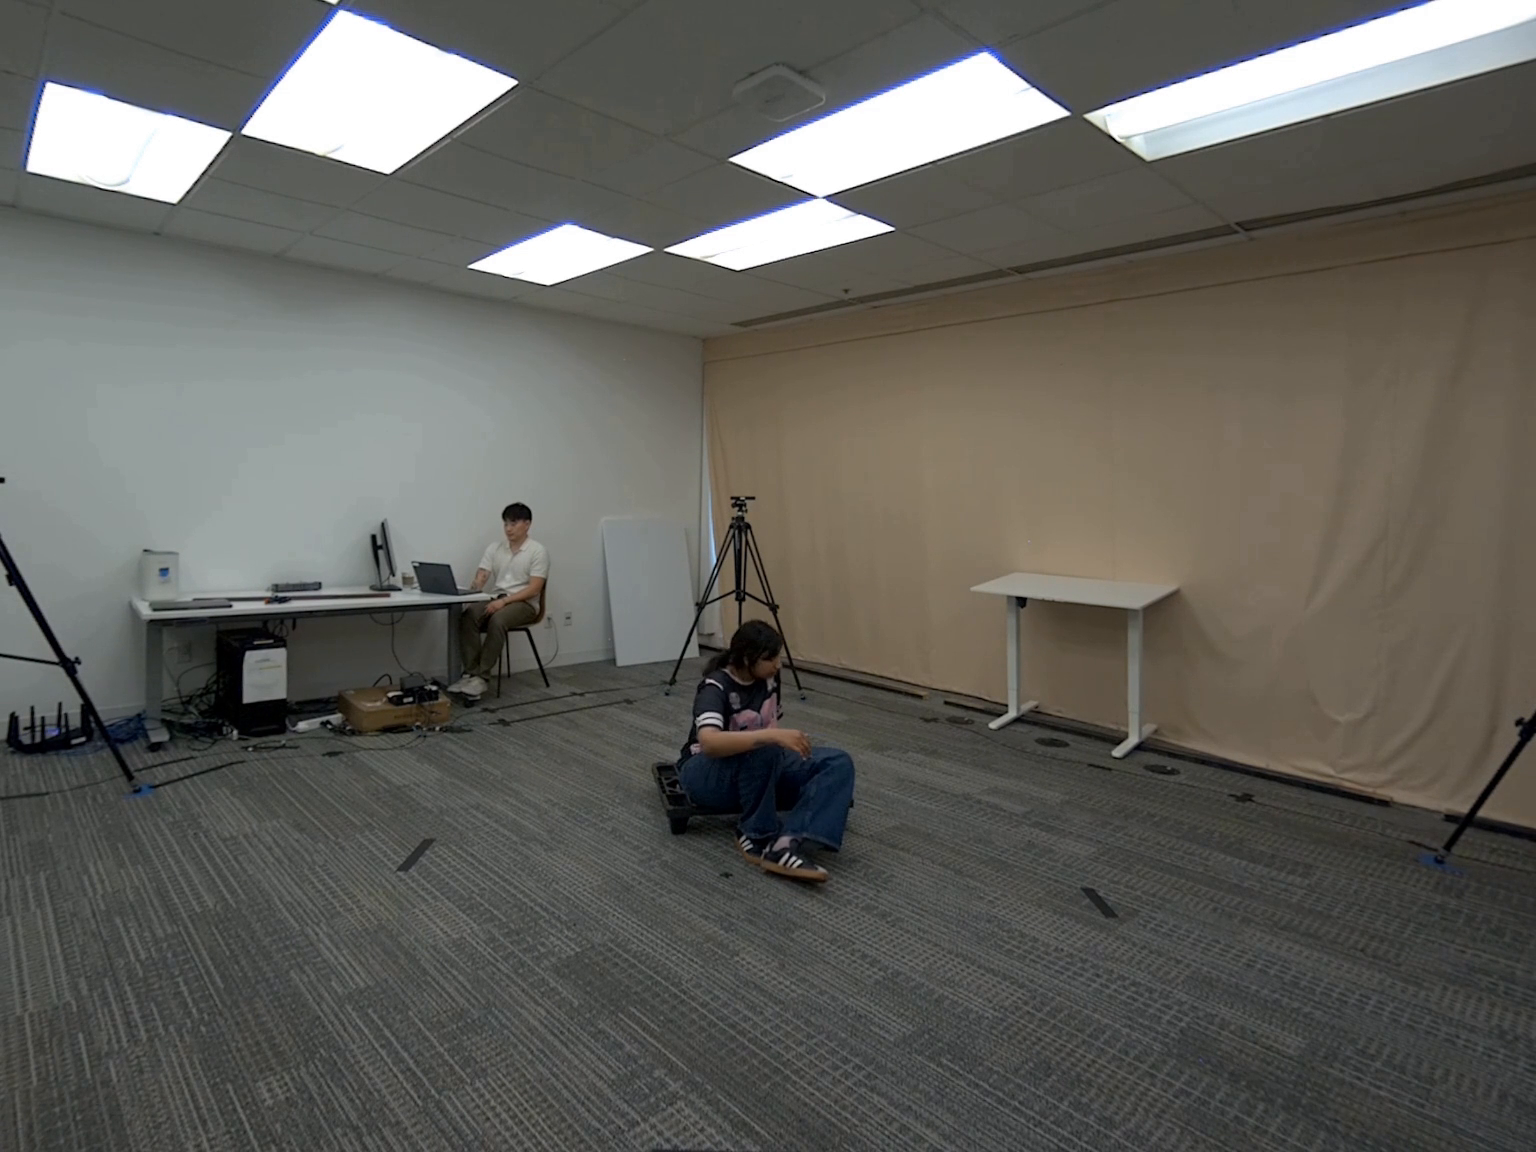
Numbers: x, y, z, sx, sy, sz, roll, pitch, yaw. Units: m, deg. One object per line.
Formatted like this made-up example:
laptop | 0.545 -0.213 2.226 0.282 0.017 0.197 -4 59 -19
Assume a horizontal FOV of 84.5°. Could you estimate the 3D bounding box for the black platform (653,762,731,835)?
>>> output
black platform | -0.094 0.982 3.768 0.798 0.143 0.612 0 5 -11
